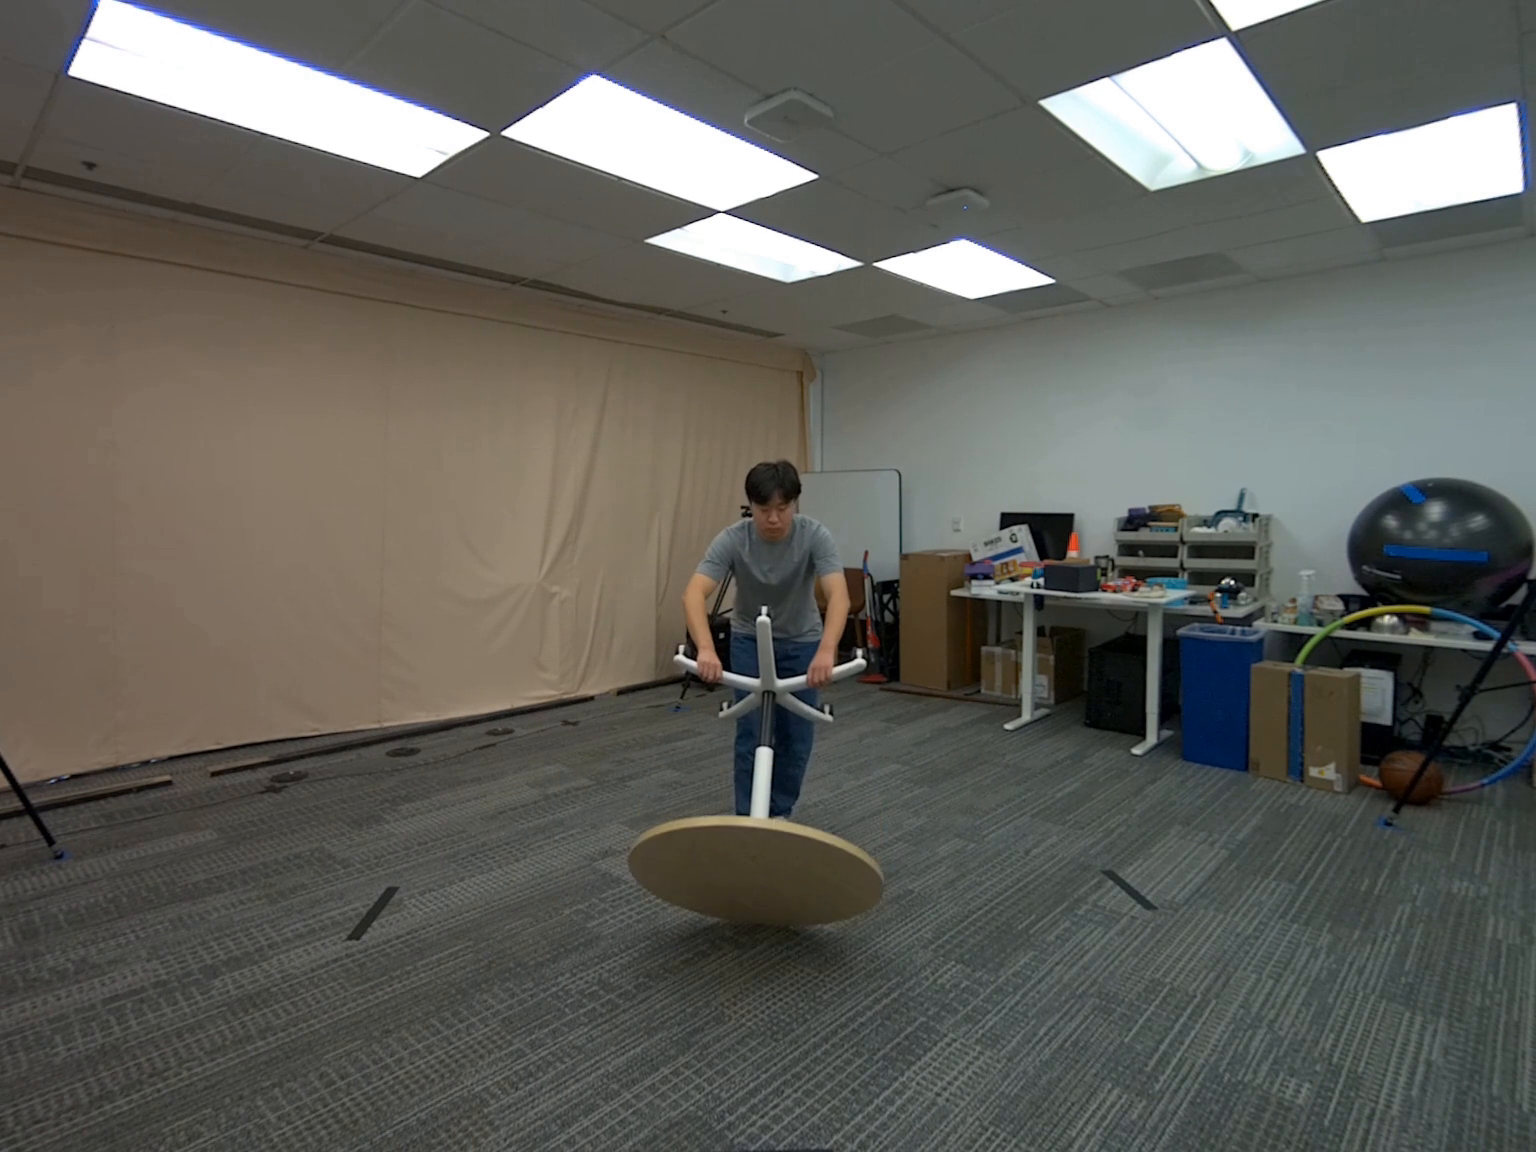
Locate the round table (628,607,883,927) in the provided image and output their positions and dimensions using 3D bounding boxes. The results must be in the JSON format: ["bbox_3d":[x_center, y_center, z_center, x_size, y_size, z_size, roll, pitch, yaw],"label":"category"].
[{"bbox_3d":[-0.021,0.611,2.790,0.767,0.805,0.750,5,-41,3],"label":"round table"}]
